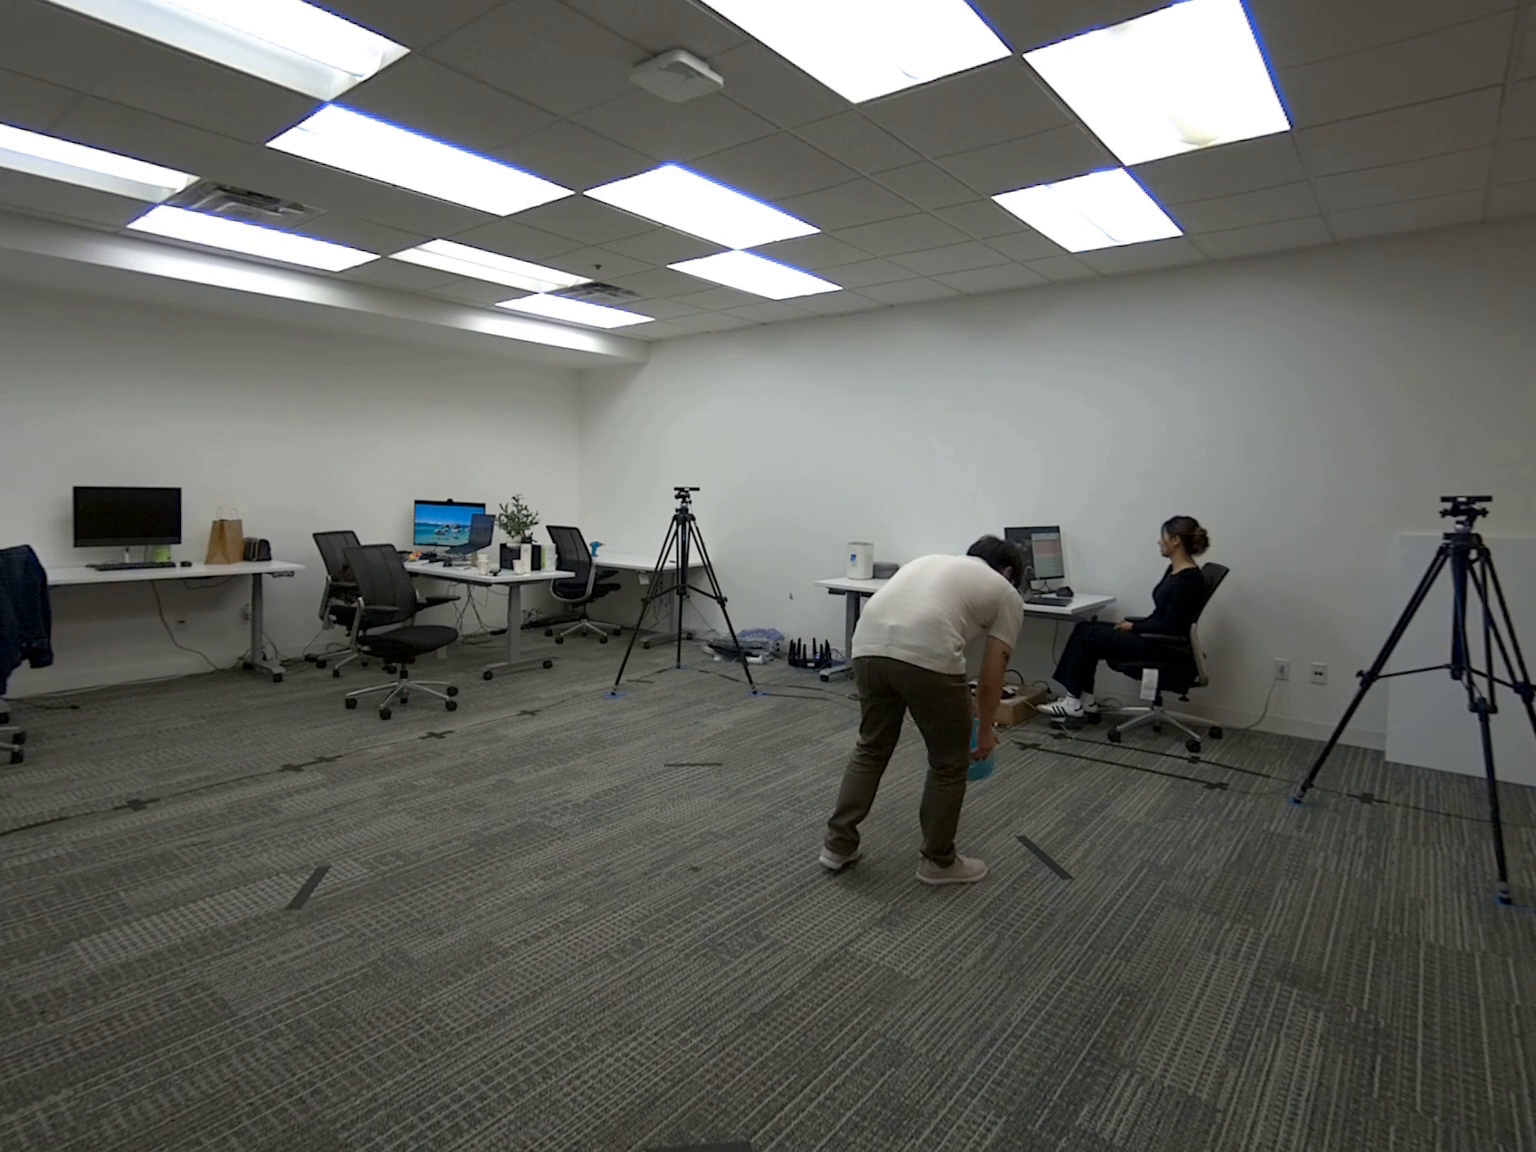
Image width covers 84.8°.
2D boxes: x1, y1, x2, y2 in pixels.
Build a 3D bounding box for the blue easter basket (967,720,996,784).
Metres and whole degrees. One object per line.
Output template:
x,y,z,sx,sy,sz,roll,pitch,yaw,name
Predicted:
0.763,0.675,3.344,0.244,0.153,0.247,-16,14,2,blue easter basket
